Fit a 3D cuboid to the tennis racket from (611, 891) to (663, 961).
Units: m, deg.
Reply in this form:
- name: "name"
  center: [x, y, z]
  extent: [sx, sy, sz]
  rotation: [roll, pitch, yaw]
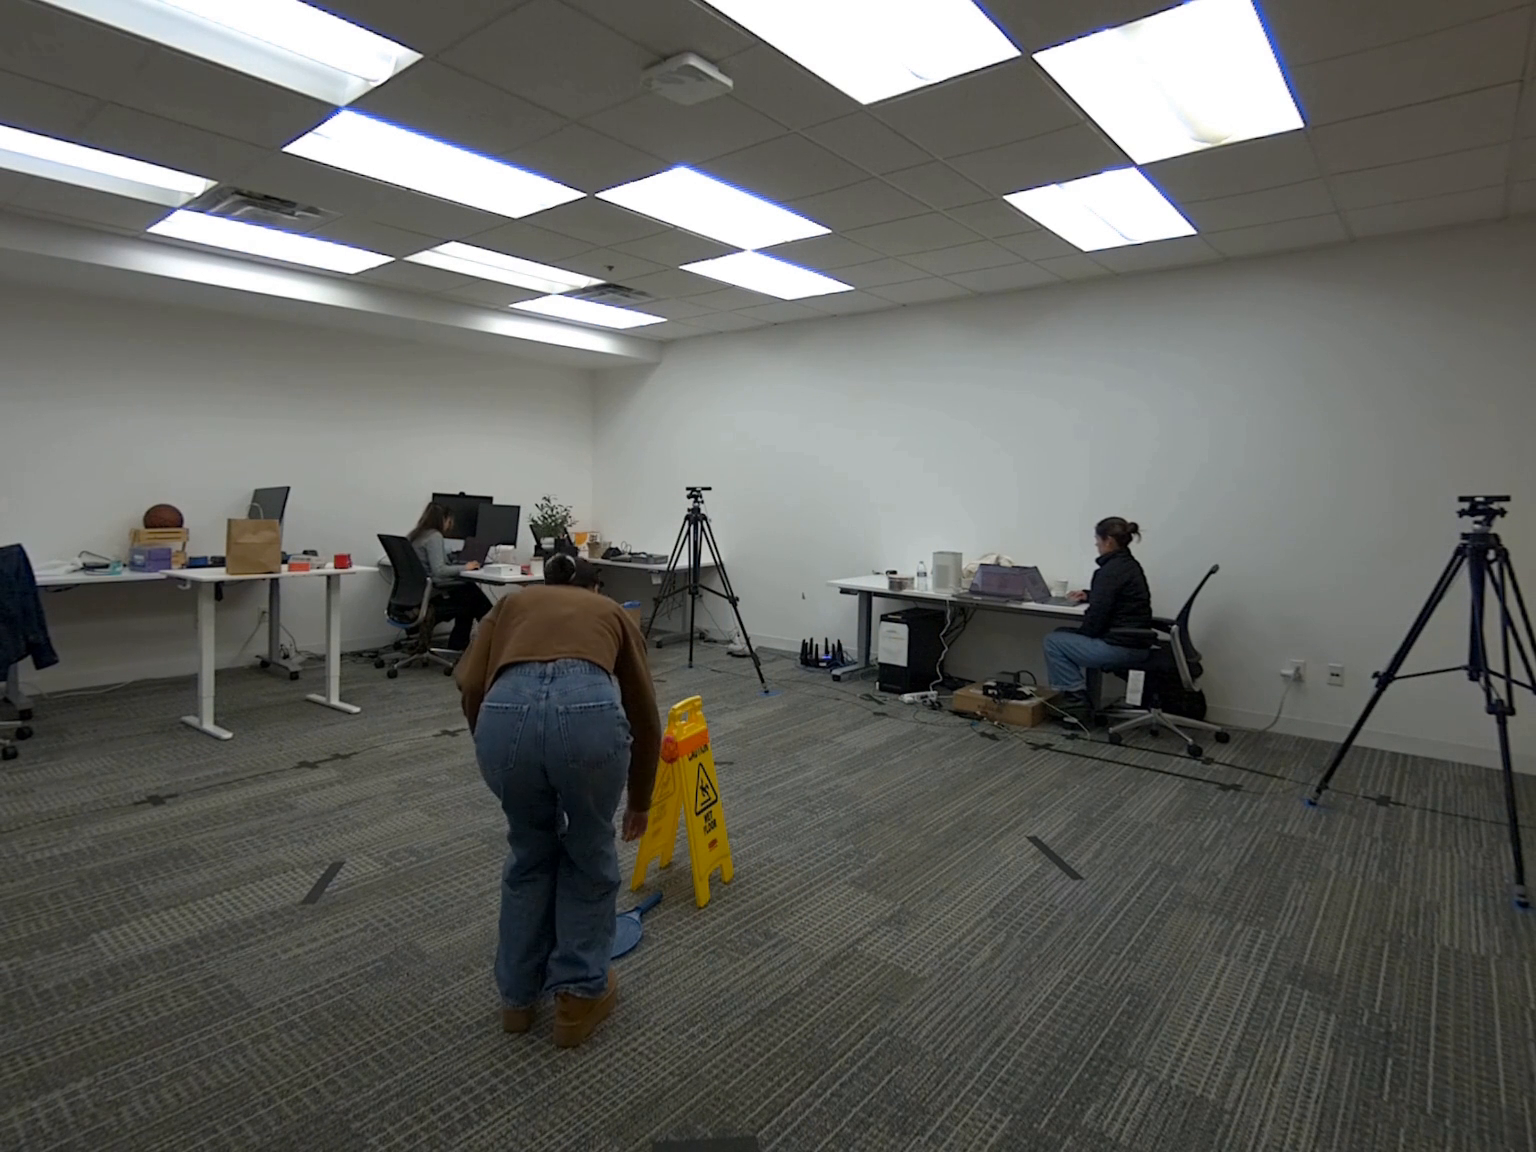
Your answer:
- name: "tennis racket"
  center: [-0.464, 1.088, 2.673]
  extent: [0.220, 0.031, 0.423]
  rotation: [3, 8, 29]
